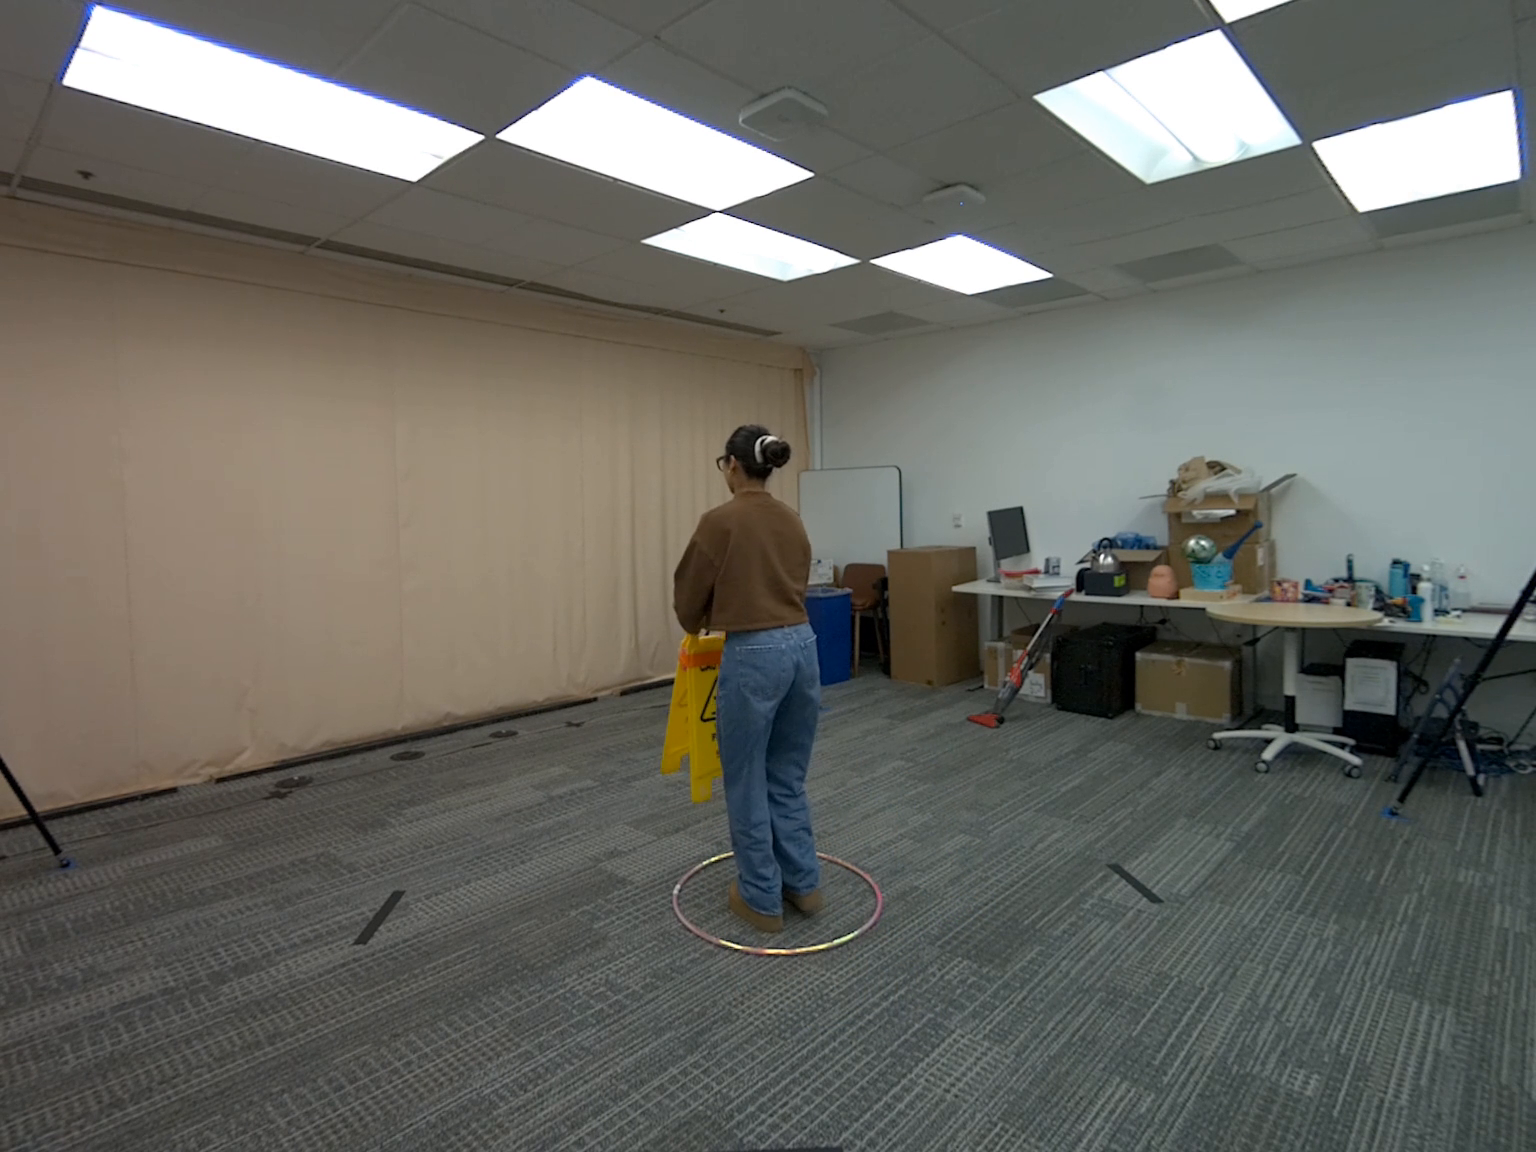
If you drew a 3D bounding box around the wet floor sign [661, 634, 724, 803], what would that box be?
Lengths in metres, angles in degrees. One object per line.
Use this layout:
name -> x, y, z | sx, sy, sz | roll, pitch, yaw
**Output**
wet floor sign -> -0.209, 0.463, 3.146 | 0.275, 0.642, 0.299 | -4, 12, -31
